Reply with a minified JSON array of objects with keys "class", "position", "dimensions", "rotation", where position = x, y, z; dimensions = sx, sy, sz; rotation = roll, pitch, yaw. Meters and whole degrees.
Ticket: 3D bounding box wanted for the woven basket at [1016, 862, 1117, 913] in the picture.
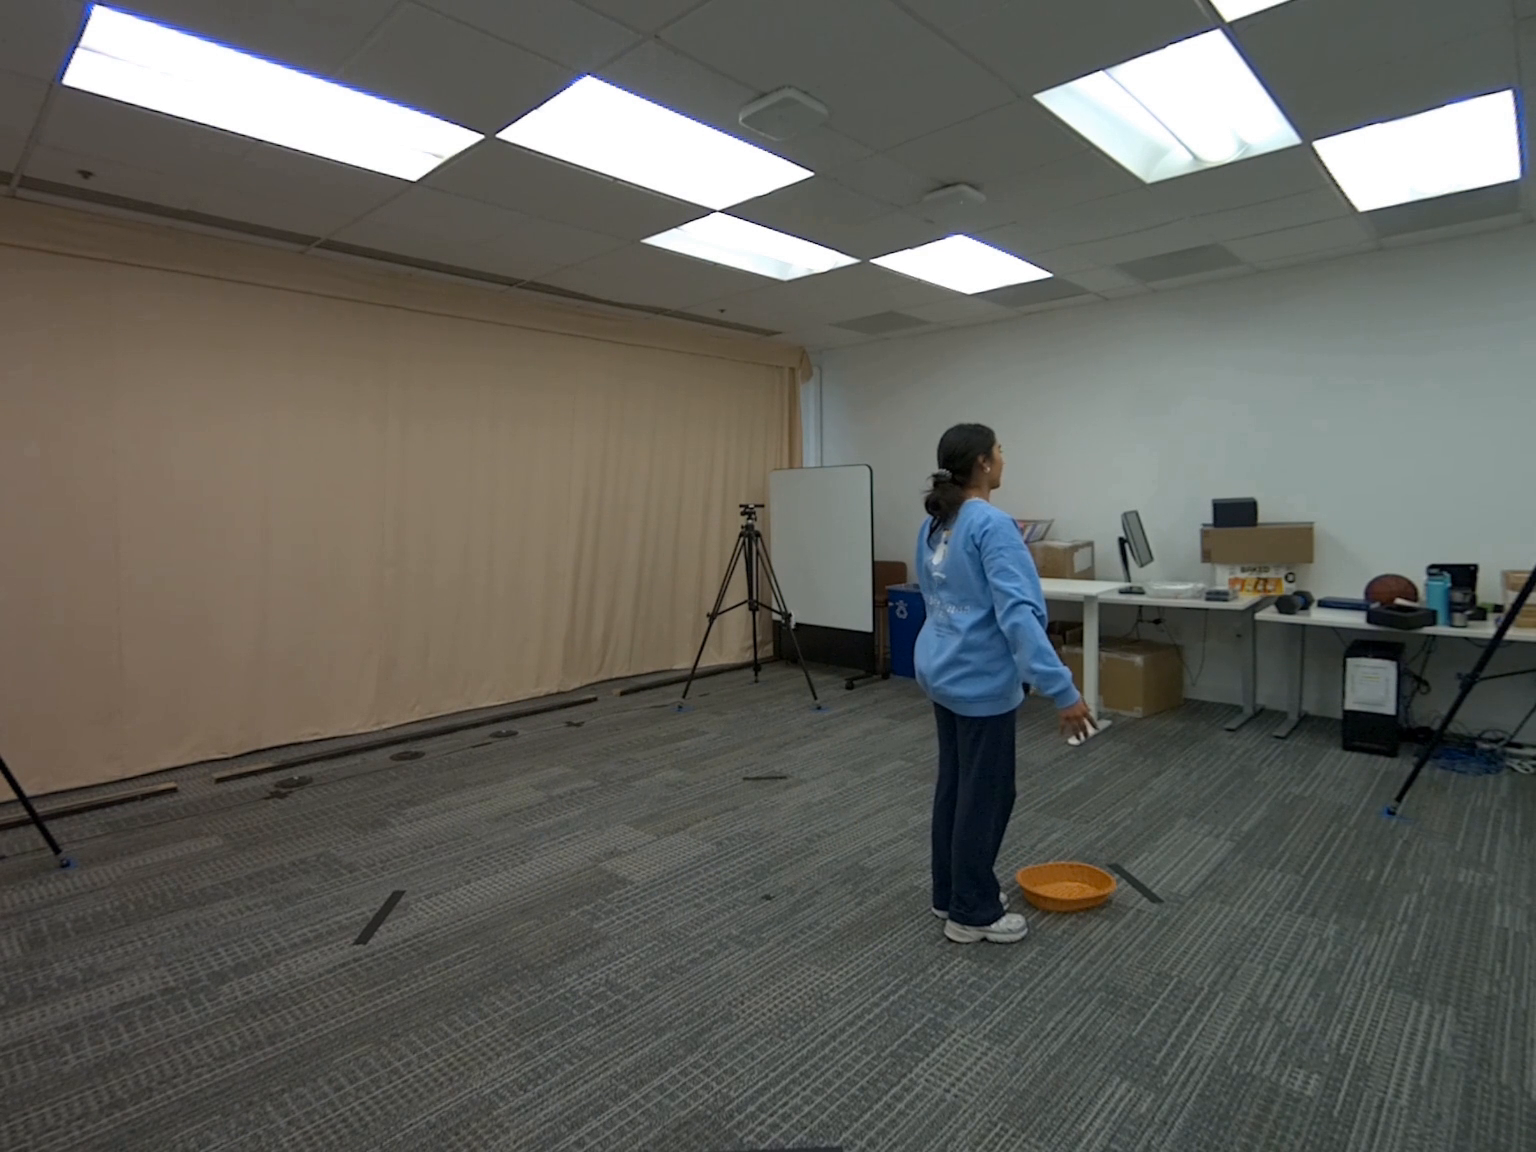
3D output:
[{"class":"woven basket","position":[1.043,1.092,2.926],"dimensions":[0.345,0.073,0.257],"rotation":[-2,6,-16]}]
